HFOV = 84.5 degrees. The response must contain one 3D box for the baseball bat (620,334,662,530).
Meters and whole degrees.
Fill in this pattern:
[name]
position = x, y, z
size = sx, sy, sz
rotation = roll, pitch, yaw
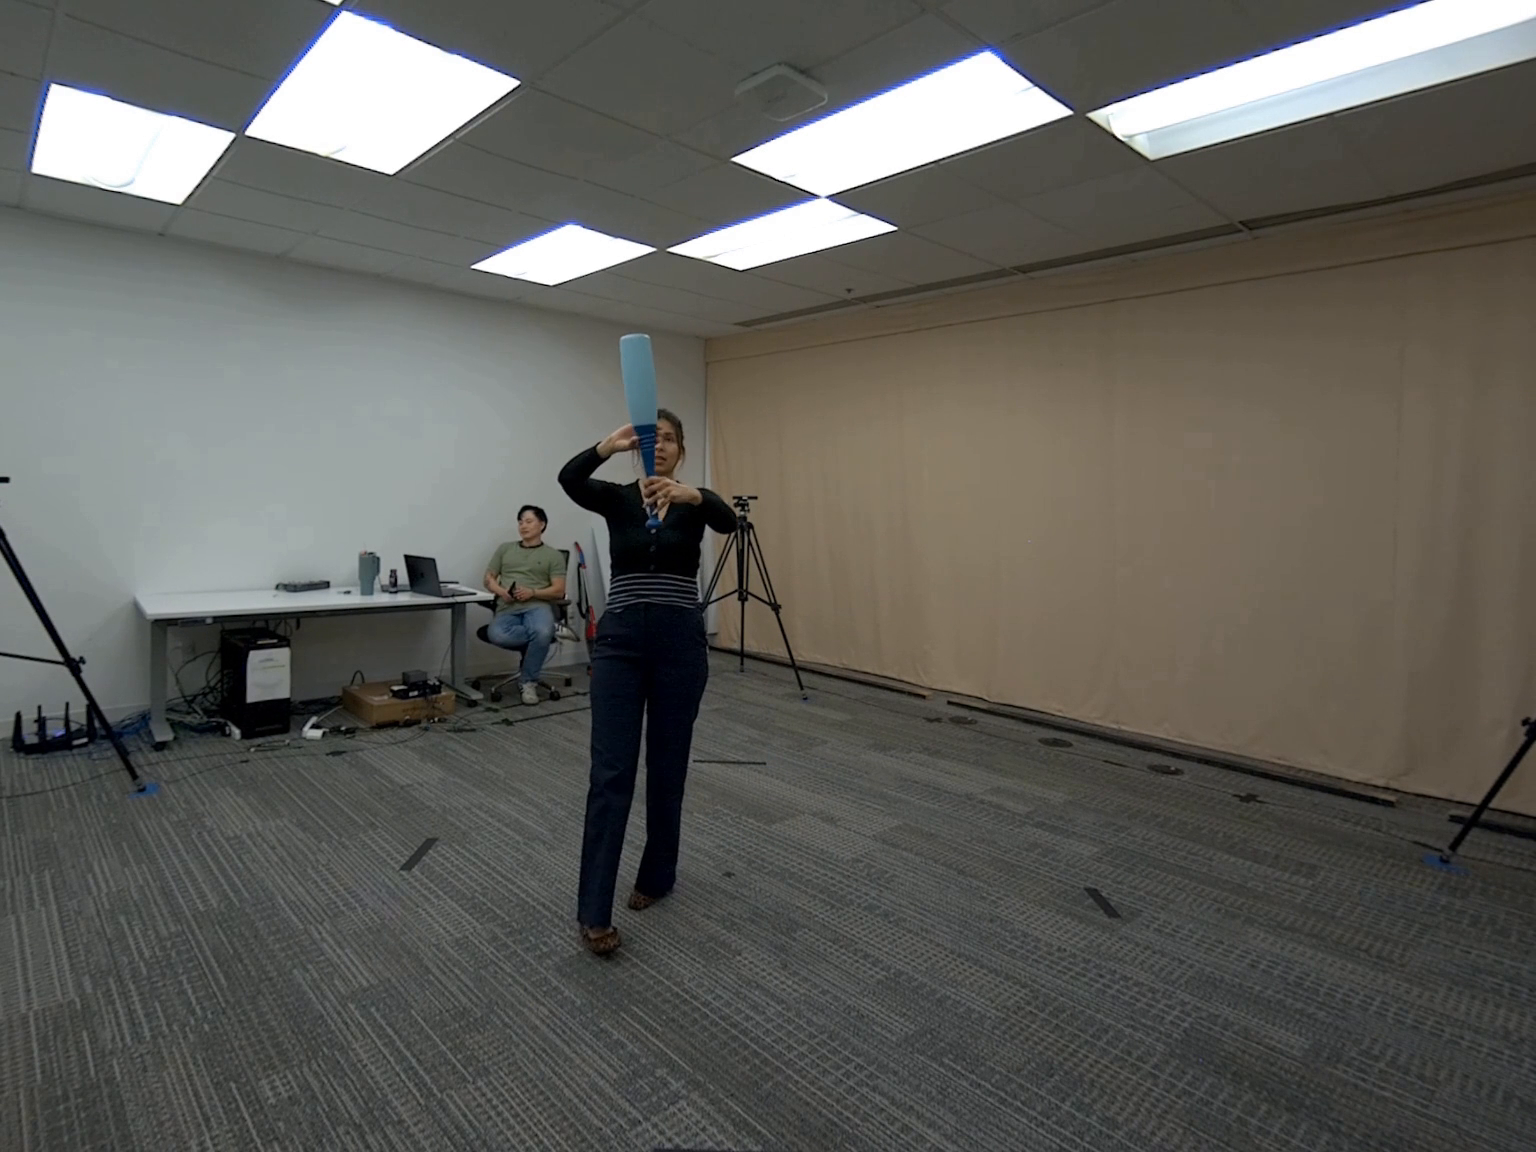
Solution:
[baseball bat]
position = -0.350, -0.404, 2.351
size = 0.089, 0.540, 0.089
rotation = -6, 5, -1
